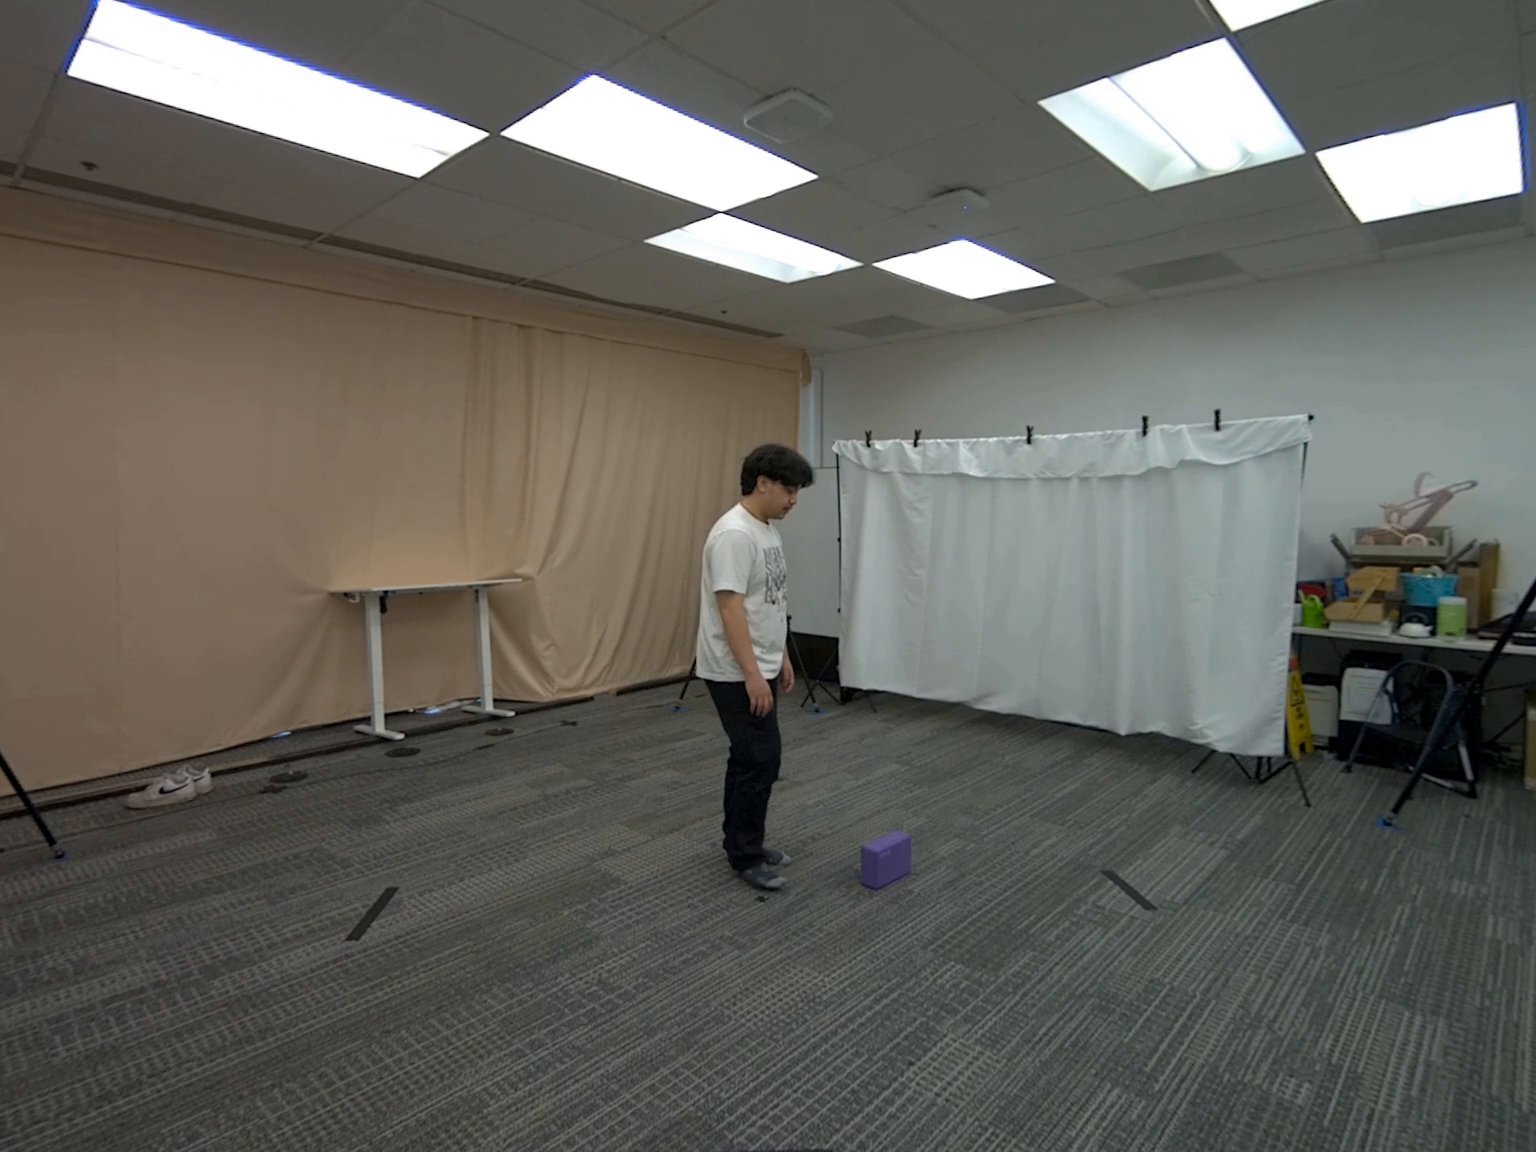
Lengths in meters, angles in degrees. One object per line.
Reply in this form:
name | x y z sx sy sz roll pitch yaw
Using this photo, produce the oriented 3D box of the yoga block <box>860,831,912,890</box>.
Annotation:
yoga block | 0.448 1.054 3.135 0.222 0.149 0.079 -3 4 -44
